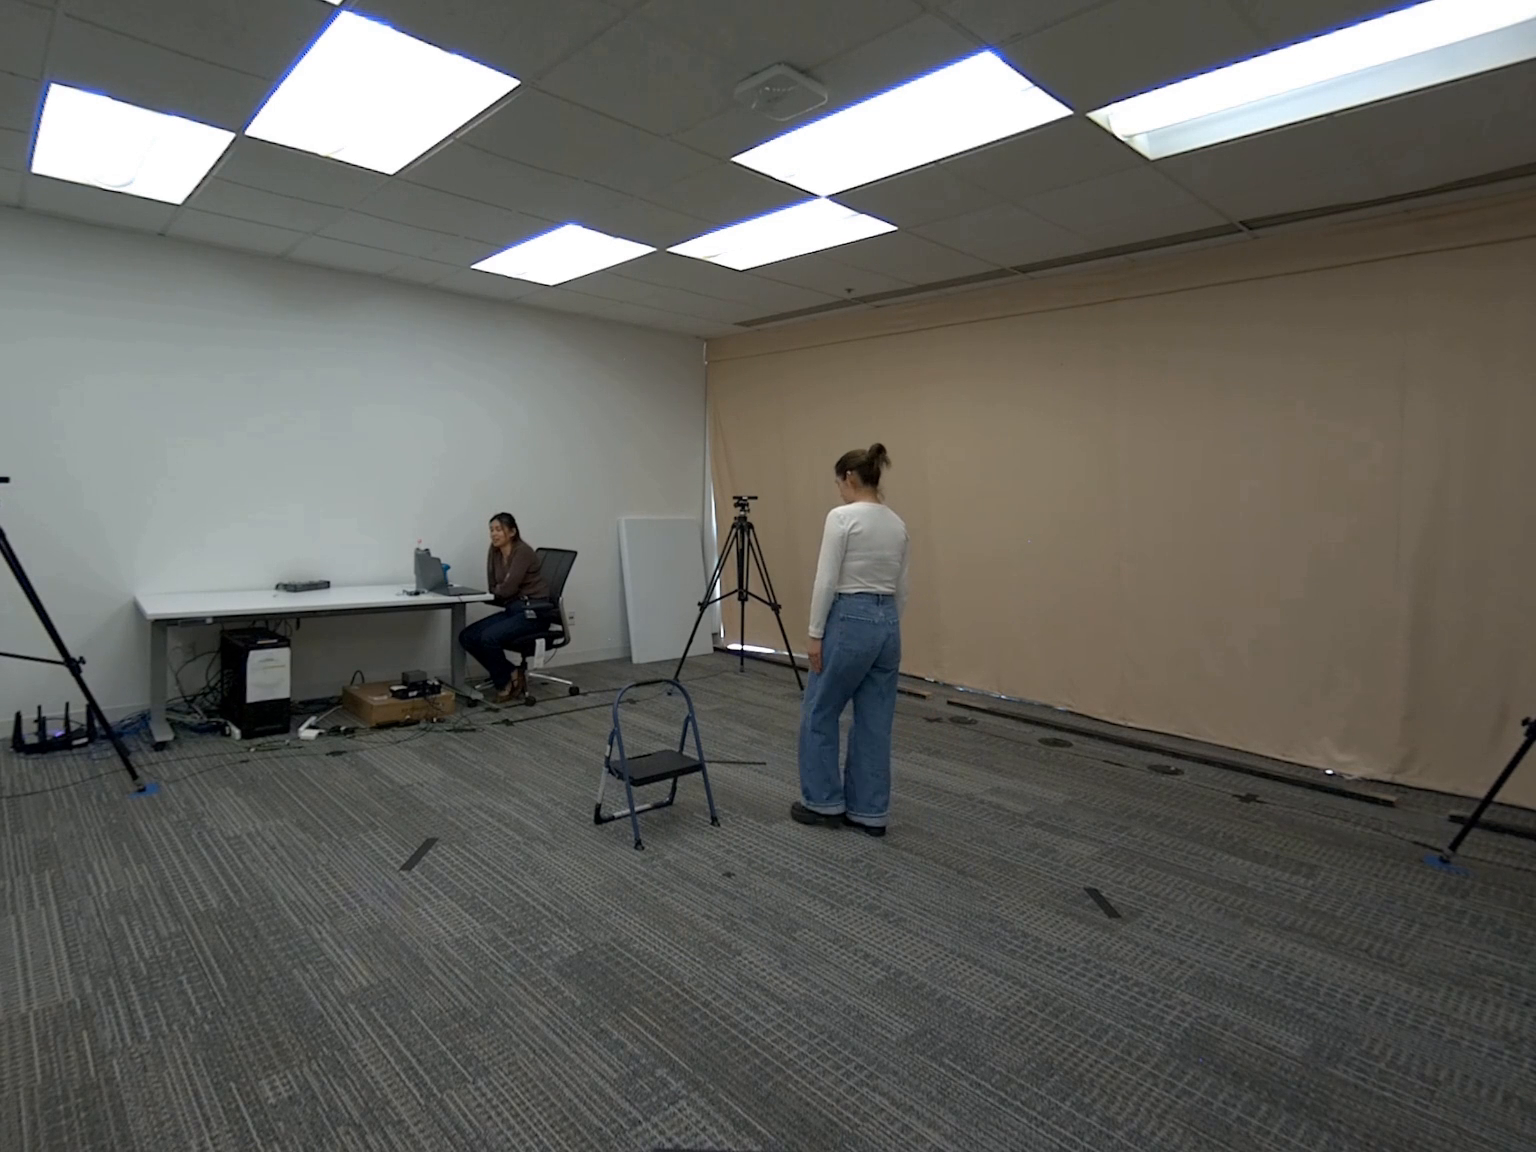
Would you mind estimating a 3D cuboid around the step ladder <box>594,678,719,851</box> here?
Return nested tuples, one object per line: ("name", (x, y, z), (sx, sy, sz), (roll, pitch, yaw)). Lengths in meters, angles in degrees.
("step ladder", (-0.474, 0.754, 3.551), (0.421, 0.605, 0.358), (-2, 4, -44))
